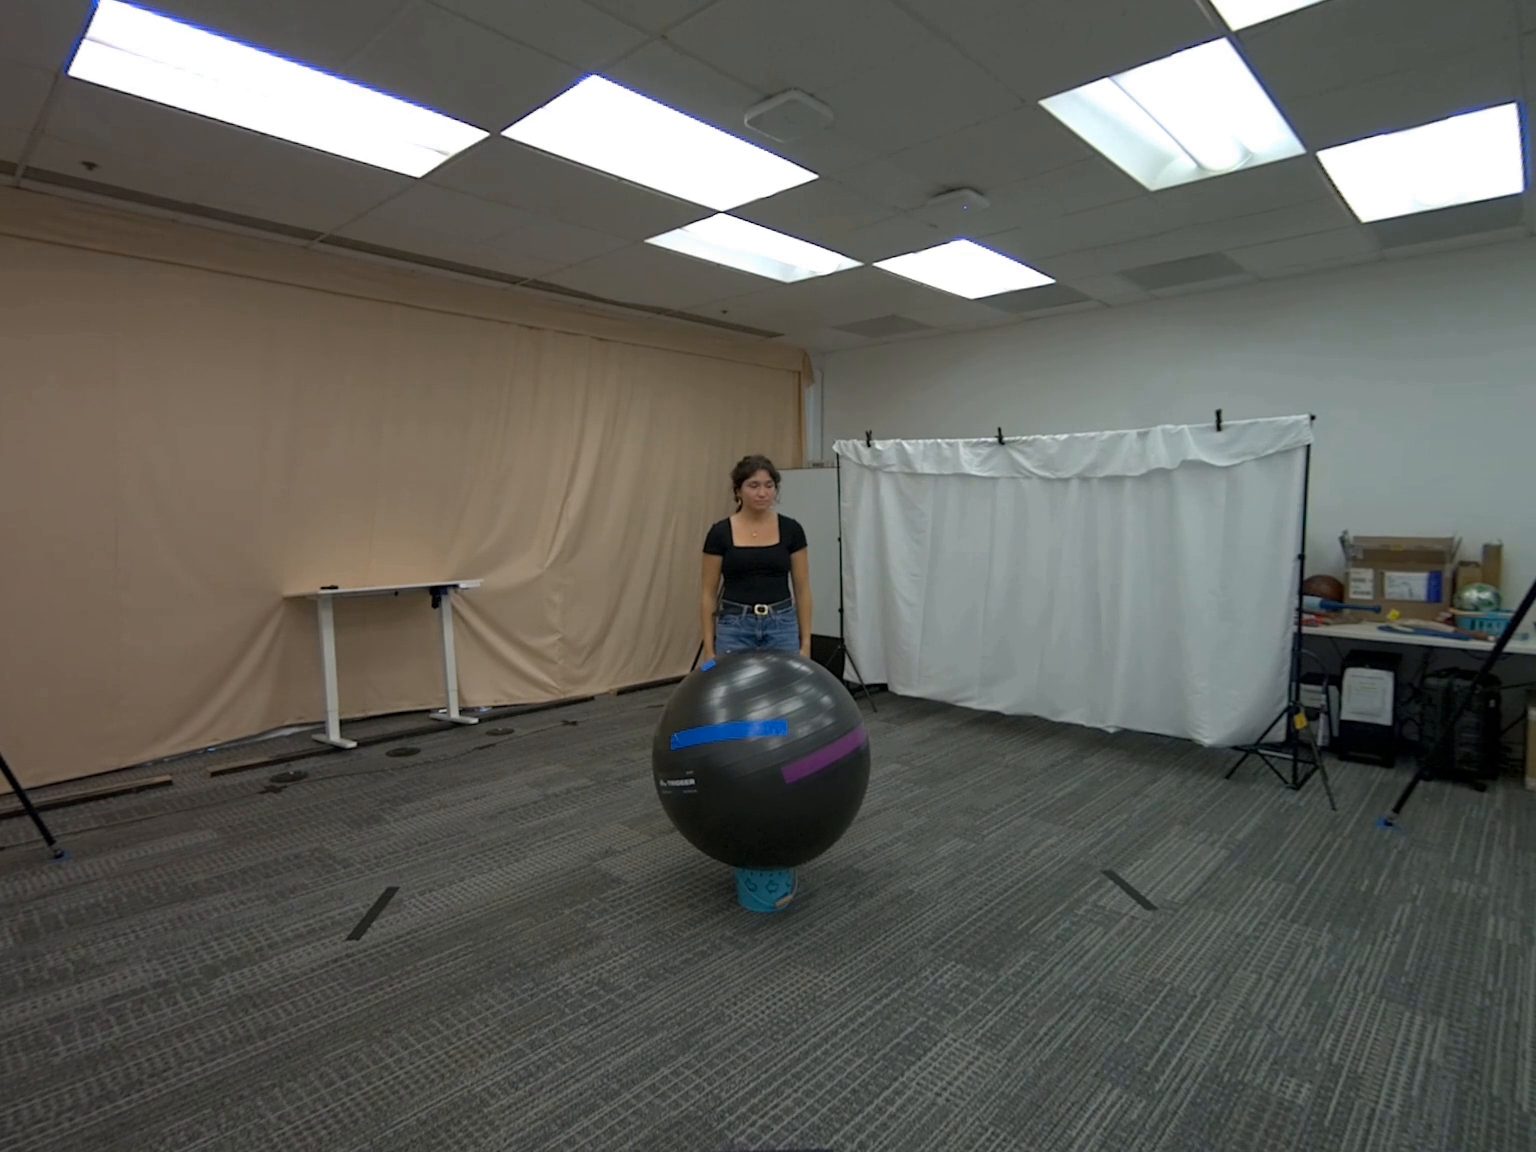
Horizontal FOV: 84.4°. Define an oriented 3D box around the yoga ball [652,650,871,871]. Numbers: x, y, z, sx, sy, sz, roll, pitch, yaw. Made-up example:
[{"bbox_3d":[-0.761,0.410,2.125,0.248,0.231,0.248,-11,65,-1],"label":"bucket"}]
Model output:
[{"bbox_3d":[-0.030,0.634,2.955,0.757,0.756,0.760,0,4,-2],"label":"yoga ball"}]
